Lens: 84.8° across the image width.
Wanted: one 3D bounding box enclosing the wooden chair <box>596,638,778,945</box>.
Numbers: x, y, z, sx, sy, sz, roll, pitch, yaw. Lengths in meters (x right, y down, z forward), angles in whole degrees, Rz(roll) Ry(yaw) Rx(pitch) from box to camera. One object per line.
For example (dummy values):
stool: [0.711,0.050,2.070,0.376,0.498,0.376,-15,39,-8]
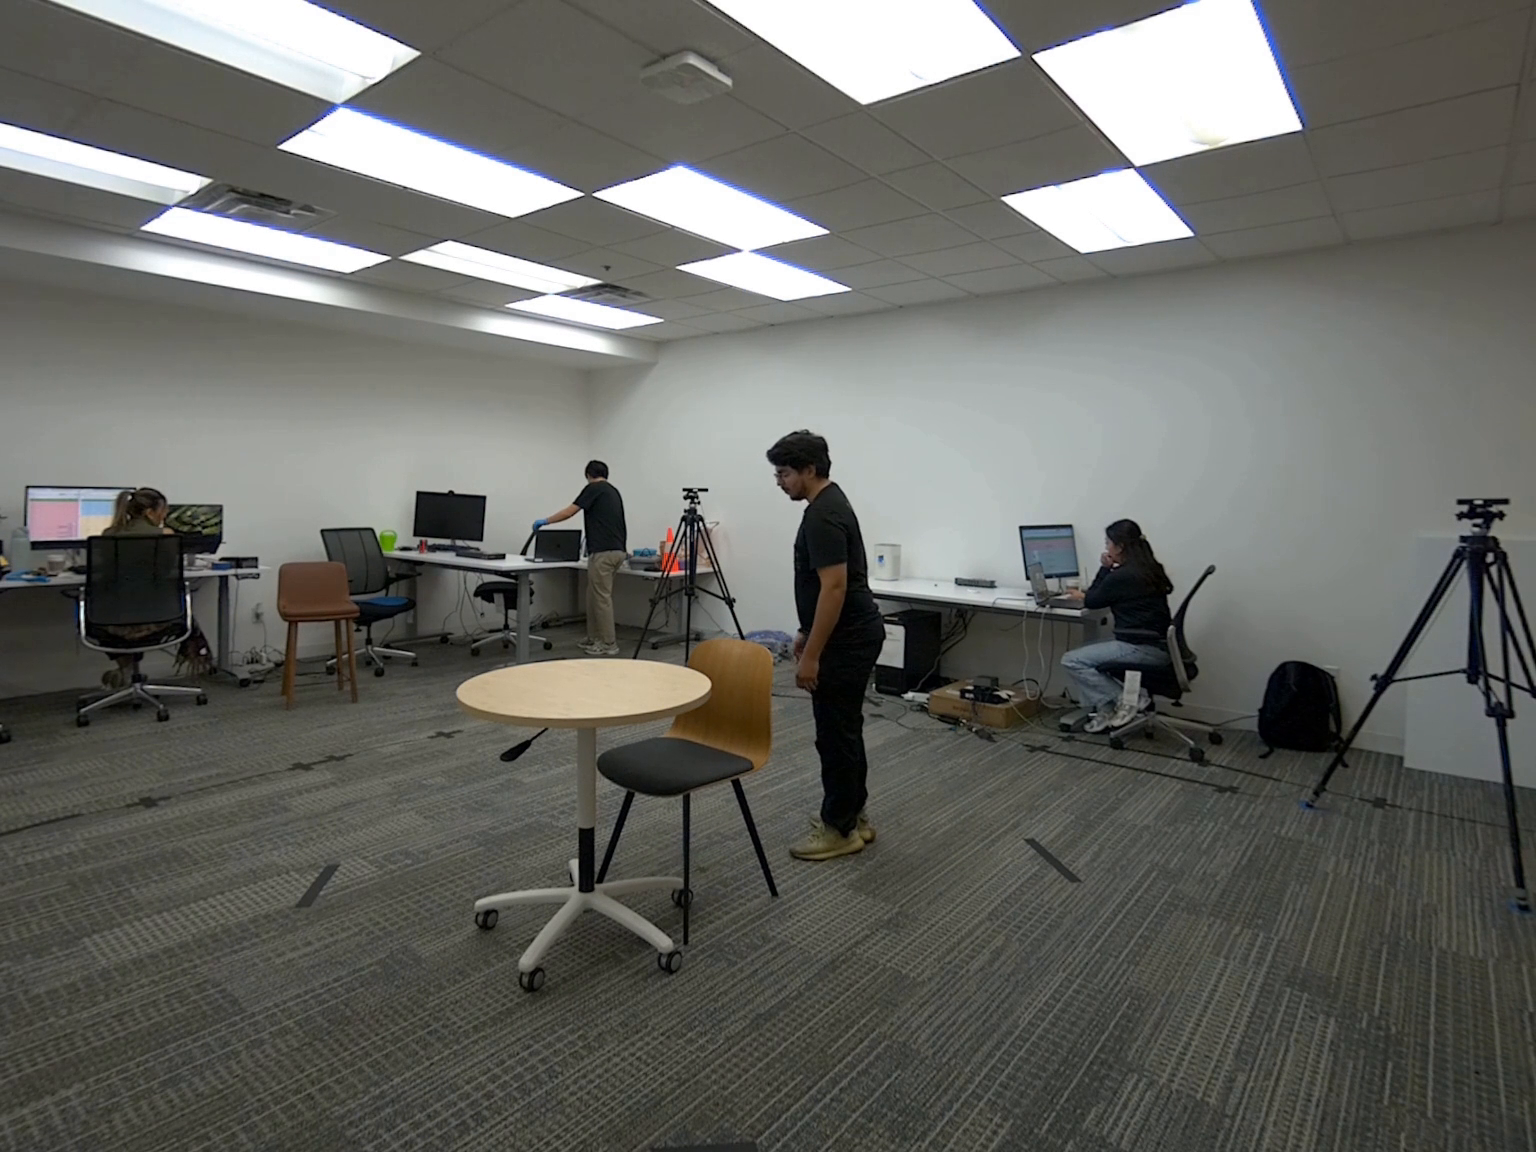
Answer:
wooden chair: [-0.288,0.665,2.868,0.494,0.877,0.506,5,1,41]
